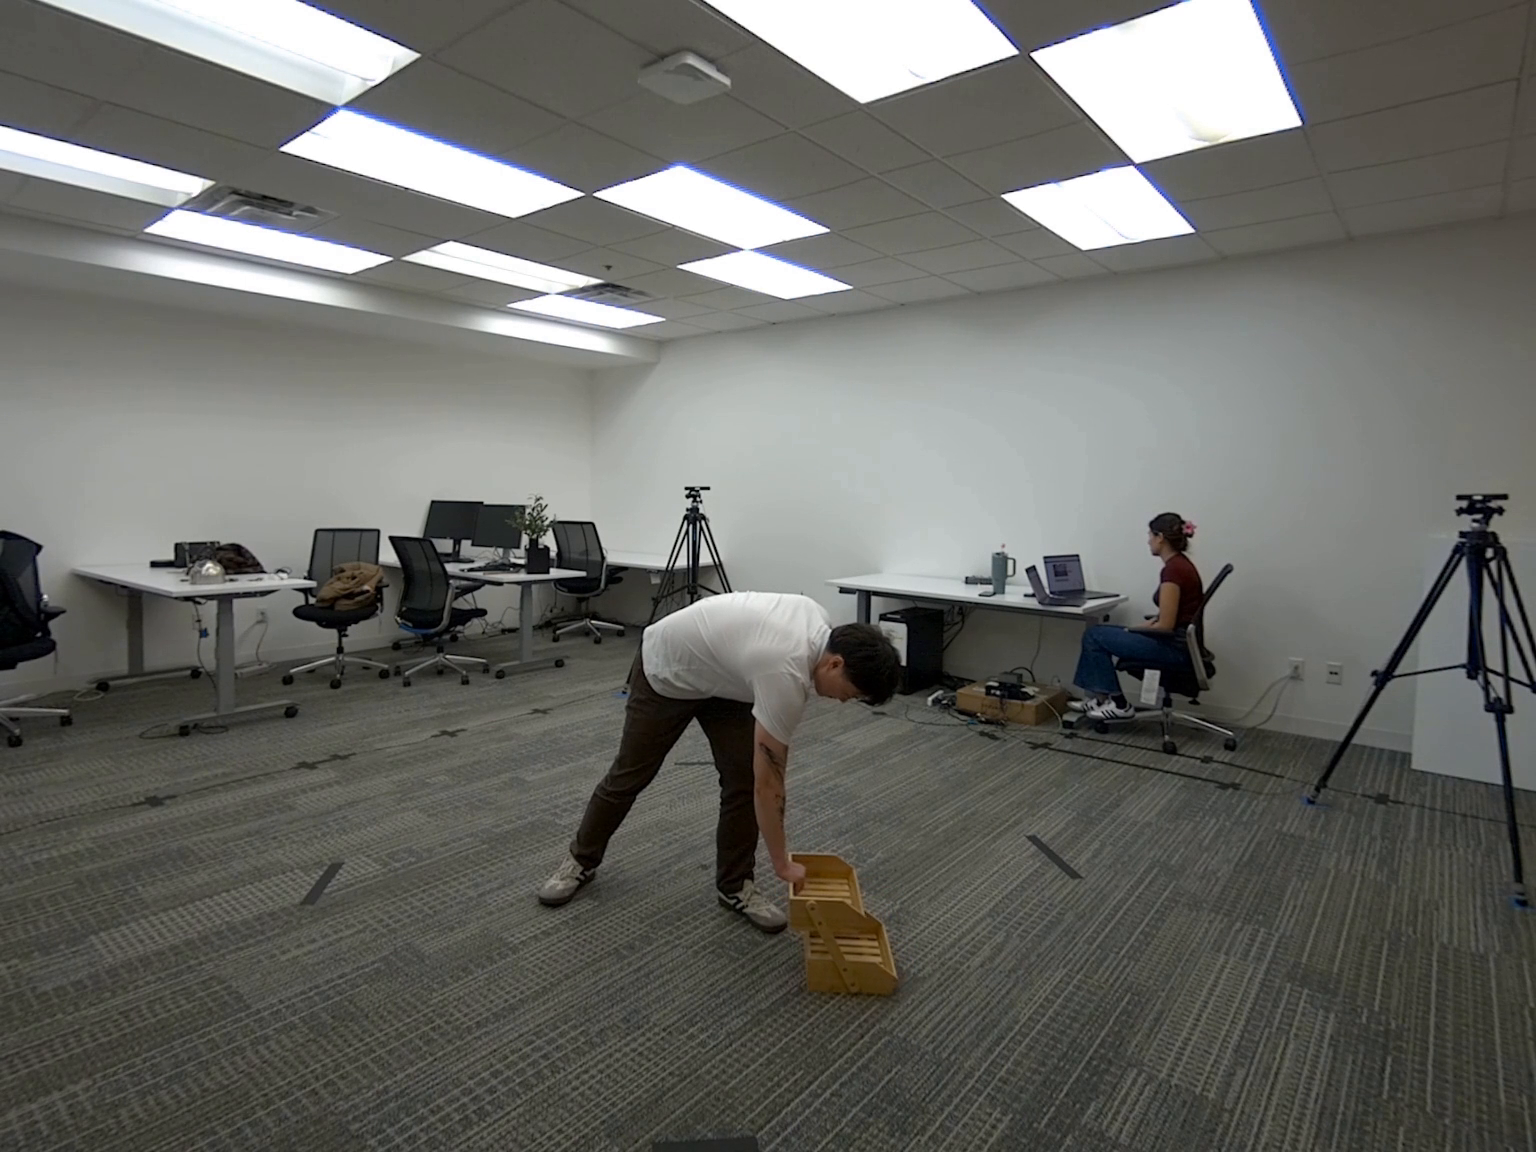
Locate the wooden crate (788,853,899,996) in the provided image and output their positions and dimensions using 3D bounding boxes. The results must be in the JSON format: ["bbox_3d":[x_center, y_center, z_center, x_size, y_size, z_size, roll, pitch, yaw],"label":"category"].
[{"bbox_3d":[0.207,0.999,2.492,0.303,0.272,0.325,0,4,2],"label":"wooden crate"}]
